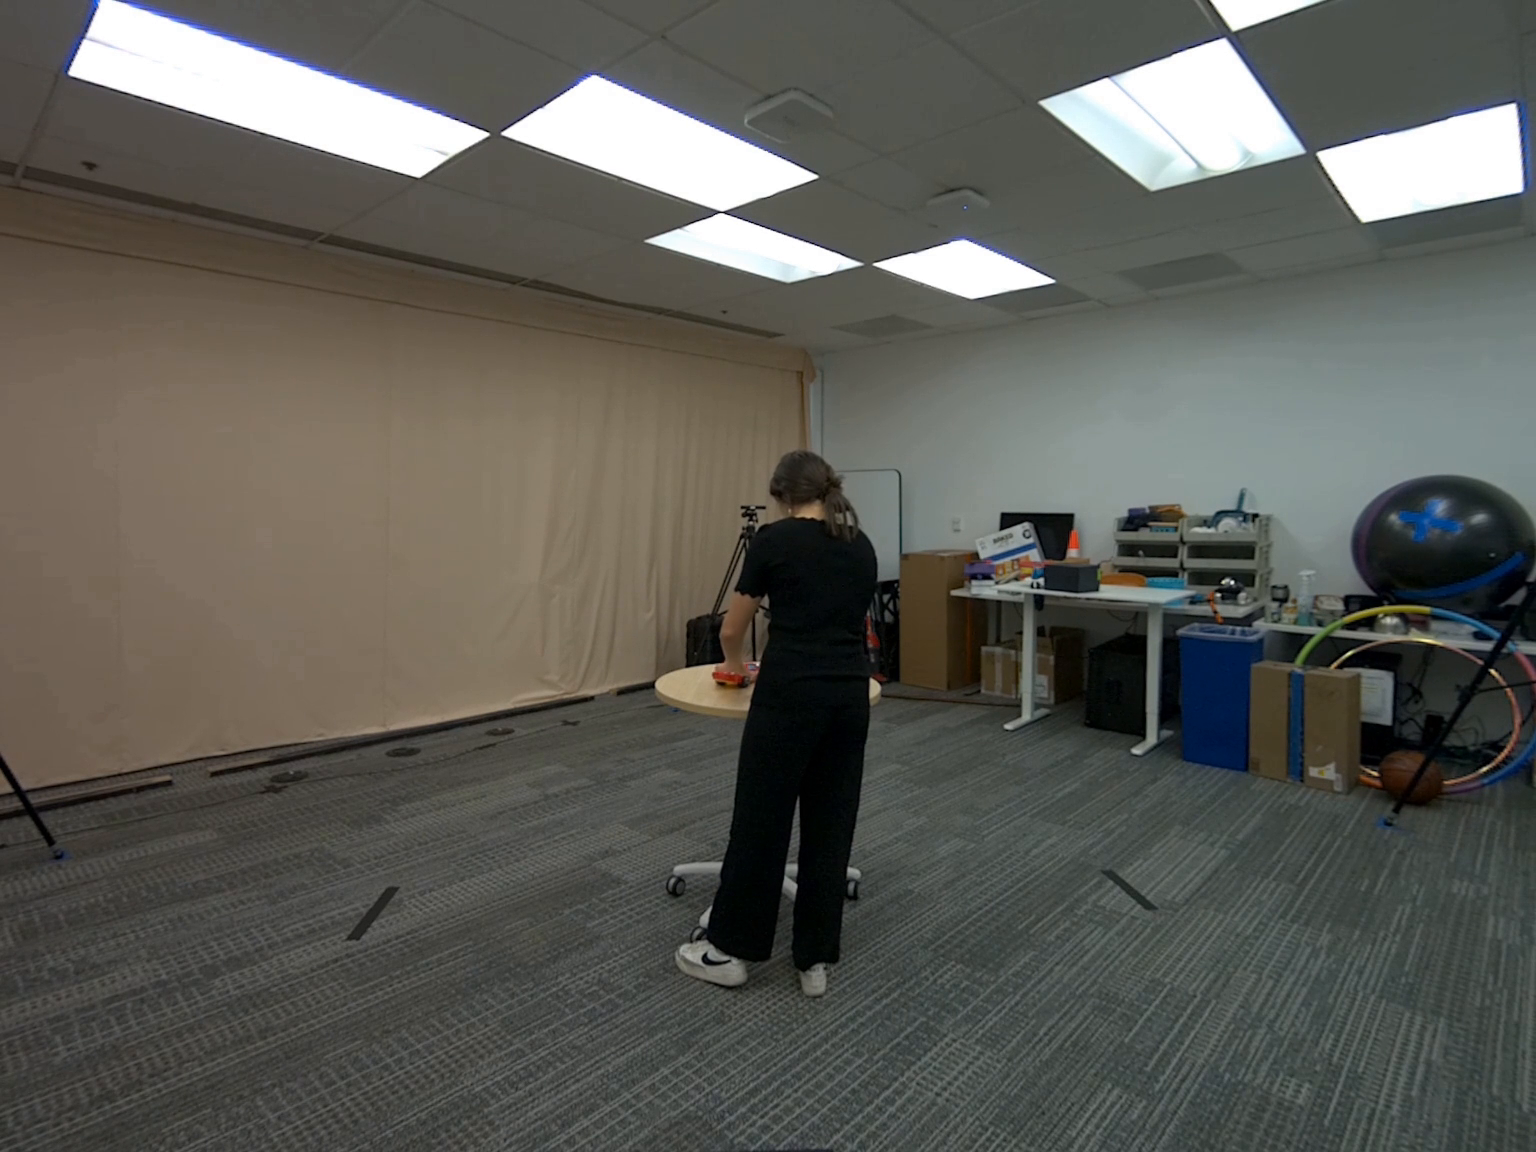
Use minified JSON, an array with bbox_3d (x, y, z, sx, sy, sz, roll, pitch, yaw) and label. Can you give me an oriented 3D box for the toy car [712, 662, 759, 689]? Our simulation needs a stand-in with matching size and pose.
[{"bbox_3d":[-0.095,0.336,2.879,0.134,0.083,0.246,4,-5,31],"label":"toy car"}]
